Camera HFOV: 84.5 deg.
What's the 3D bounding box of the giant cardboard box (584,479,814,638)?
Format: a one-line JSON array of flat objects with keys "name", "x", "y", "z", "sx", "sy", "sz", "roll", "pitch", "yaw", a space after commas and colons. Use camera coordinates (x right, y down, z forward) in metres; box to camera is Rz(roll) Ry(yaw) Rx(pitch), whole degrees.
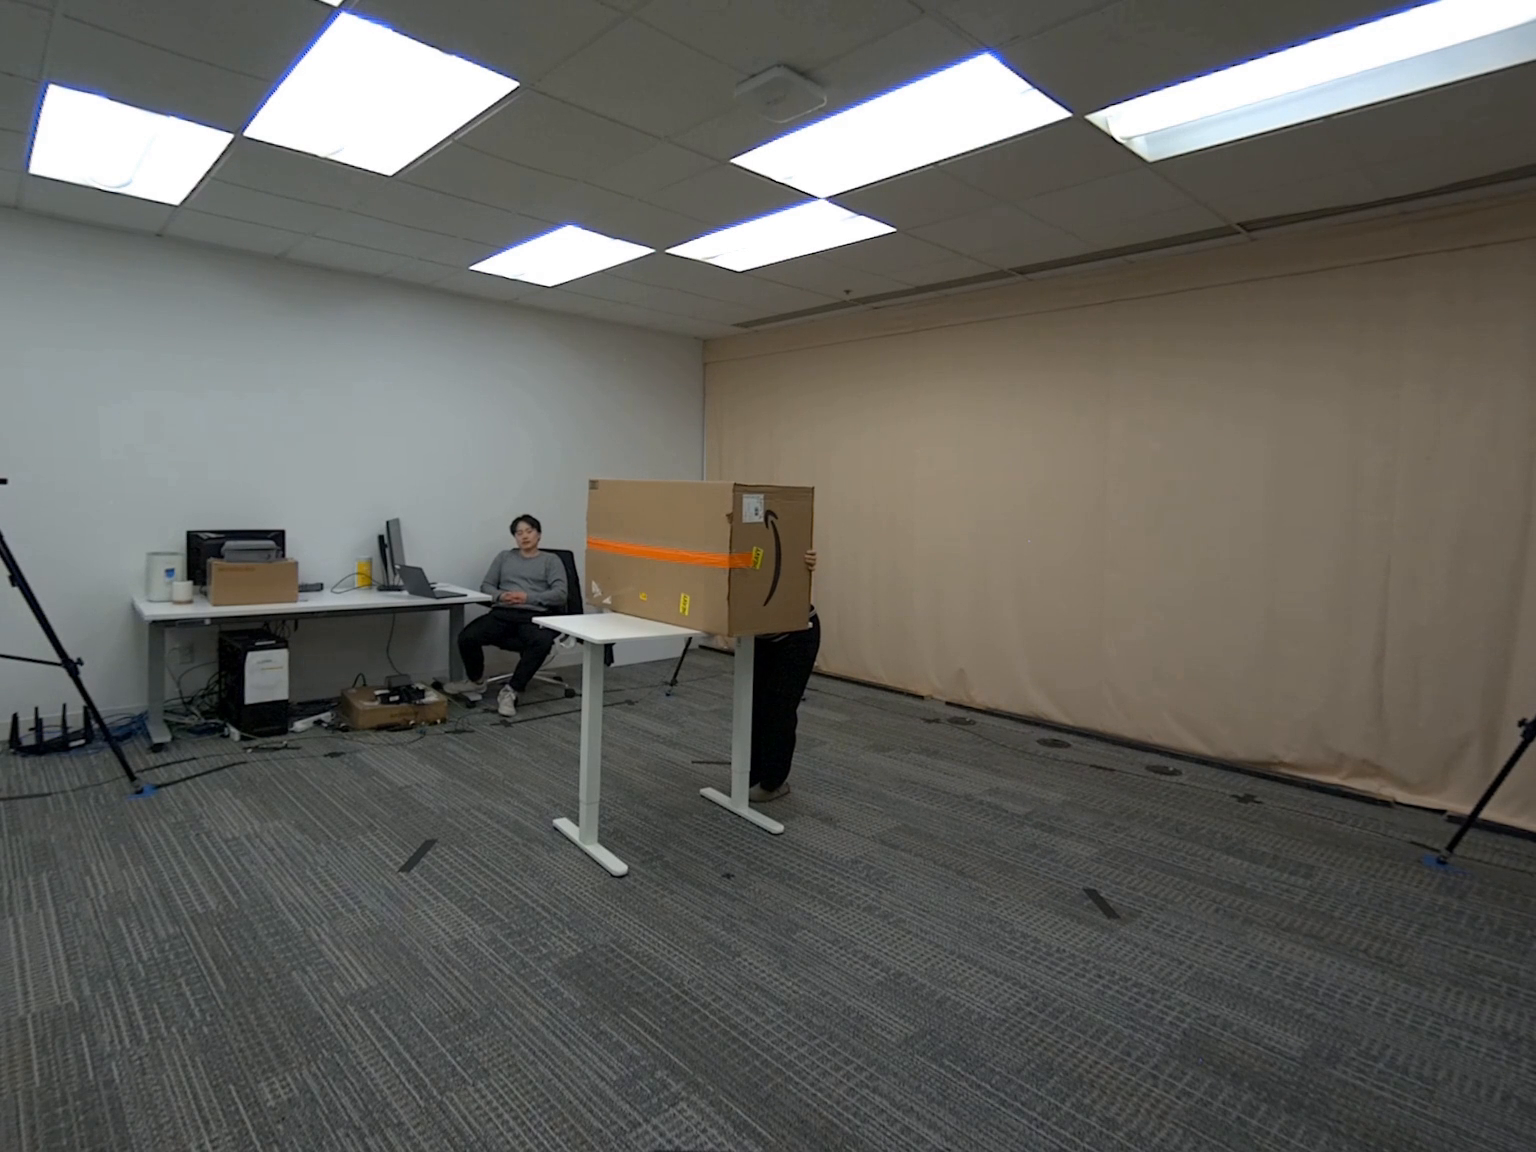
[{"name": "giant cardboard box", "x": -0.335, "y": -0.115, "z": 3.593, "sx": 0.416, "sy": 0.576, "sz": 1.053, "roll": -2, "pitch": 6, "yaw": -42}]
